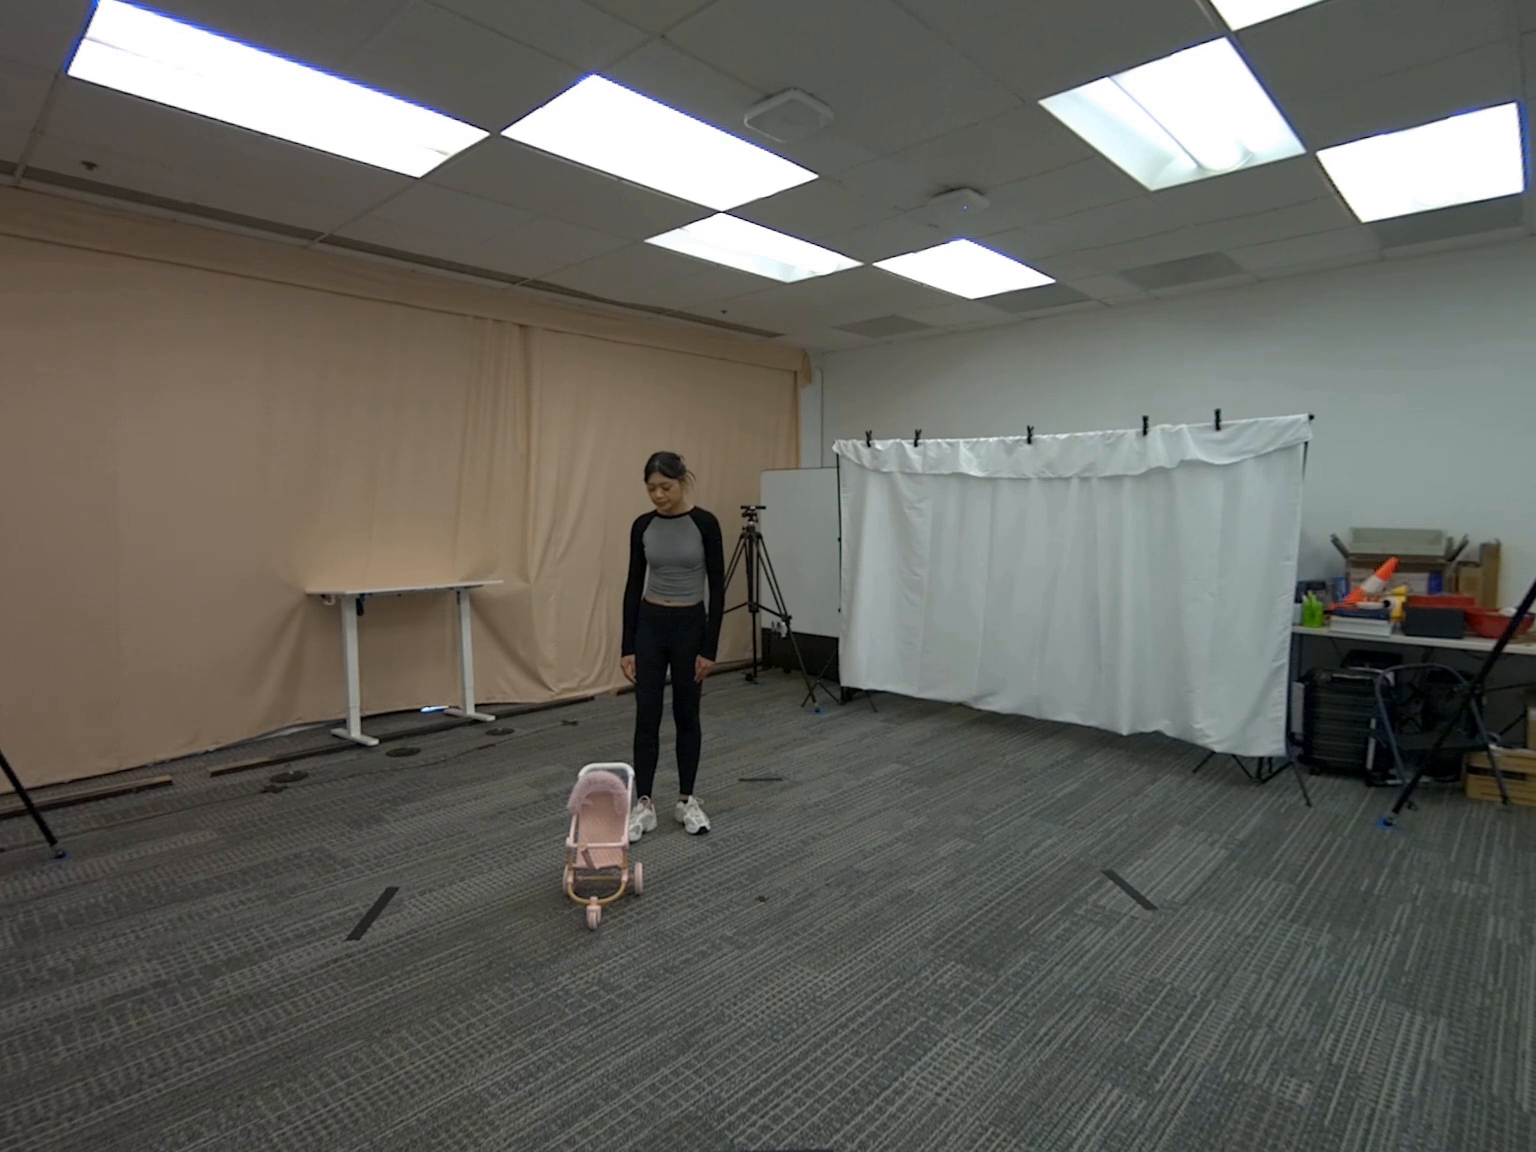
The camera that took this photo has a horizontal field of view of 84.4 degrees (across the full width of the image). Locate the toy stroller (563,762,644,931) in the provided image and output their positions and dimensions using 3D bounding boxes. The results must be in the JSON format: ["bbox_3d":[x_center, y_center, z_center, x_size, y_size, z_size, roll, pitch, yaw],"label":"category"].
[{"bbox_3d":[-0.594,0.927,2.961,0.282,0.539,0.337,-1,-13,2],"label":"toy stroller"}]
